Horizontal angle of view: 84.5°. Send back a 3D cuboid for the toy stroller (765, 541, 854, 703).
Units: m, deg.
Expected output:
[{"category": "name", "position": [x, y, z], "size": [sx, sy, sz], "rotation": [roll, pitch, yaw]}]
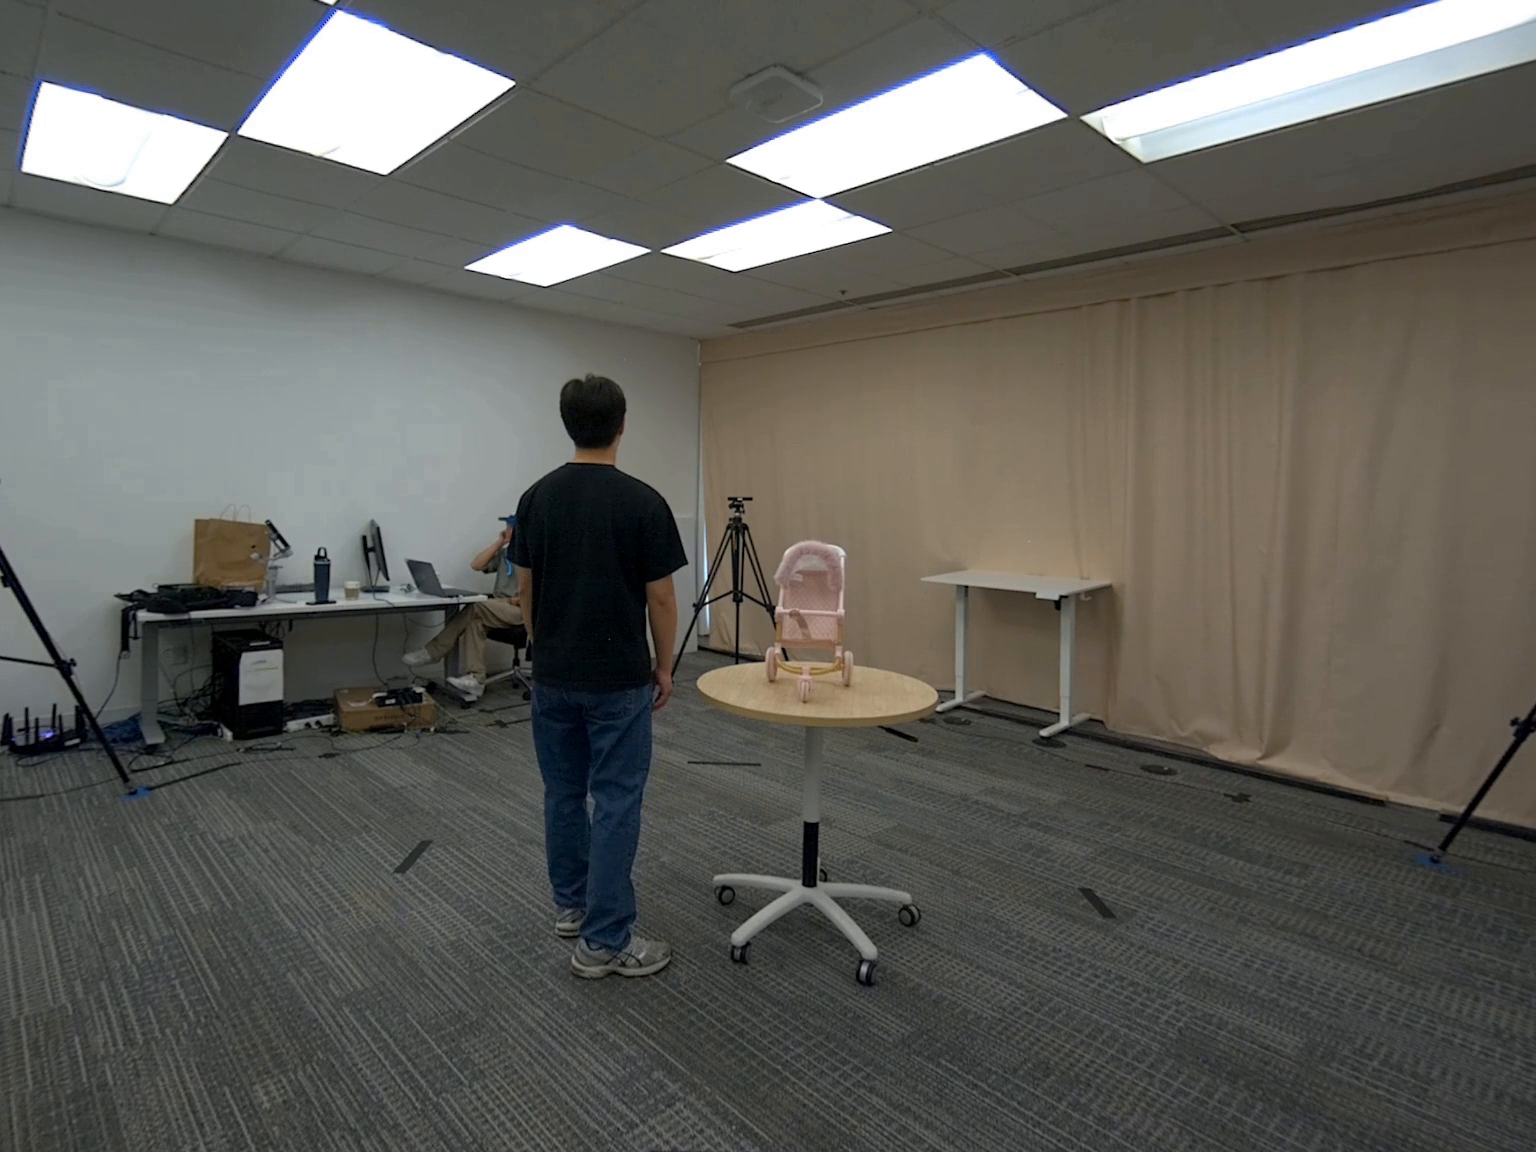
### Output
[{"category": "toy stroller", "position": [0.131, 0.133, 2.663], "size": [0.284, 0.539, 0.336], "rotation": [1, -11, 10]}]
